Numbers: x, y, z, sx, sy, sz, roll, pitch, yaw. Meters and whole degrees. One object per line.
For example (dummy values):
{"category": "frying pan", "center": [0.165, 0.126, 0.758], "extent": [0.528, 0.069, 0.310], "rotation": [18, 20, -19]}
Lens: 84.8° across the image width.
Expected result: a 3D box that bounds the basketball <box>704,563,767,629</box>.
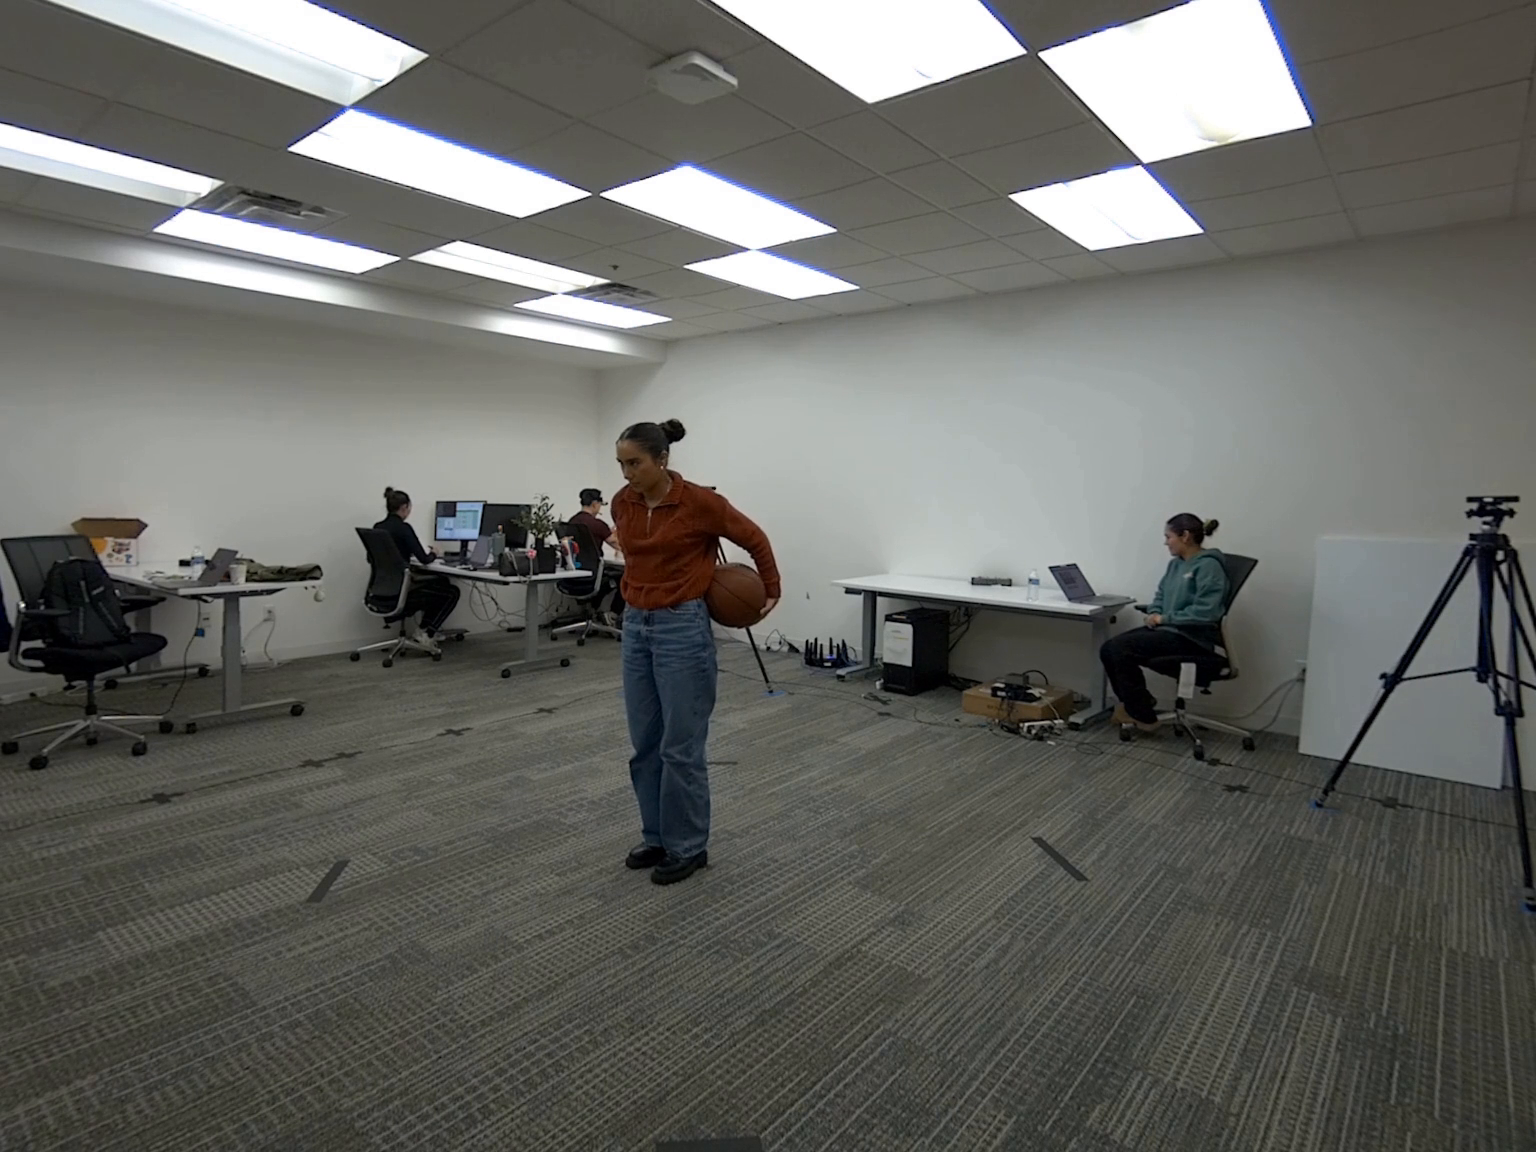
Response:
{"category": "basketball", "center": [-0.137, 0.067, 3.085], "extent": [0.235, 0.235, 0.237], "rotation": [1, 4, -2]}
